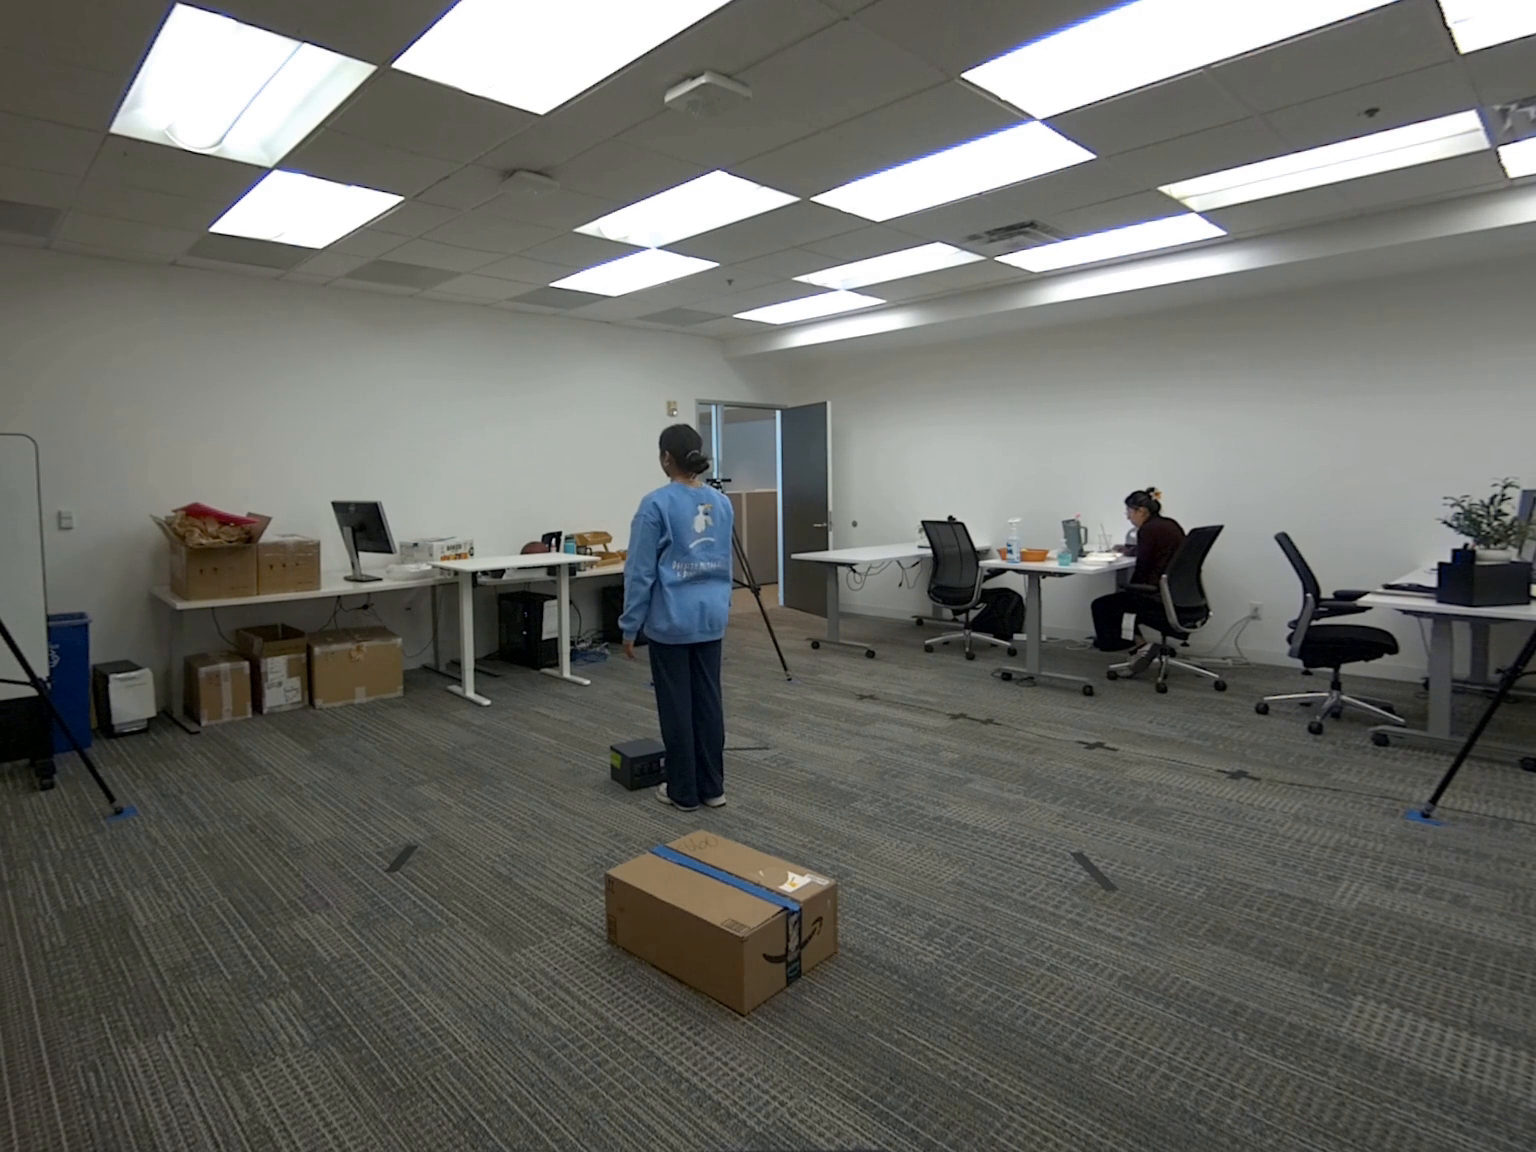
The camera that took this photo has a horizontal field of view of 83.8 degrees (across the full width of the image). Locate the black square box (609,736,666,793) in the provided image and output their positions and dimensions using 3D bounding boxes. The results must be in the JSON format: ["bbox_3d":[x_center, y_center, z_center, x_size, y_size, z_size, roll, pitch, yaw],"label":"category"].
[{"bbox_3d":[-0.591,0.874,4.001,0.212,0.155,0.234,-6,7,-34],"label":"black square box"}]
